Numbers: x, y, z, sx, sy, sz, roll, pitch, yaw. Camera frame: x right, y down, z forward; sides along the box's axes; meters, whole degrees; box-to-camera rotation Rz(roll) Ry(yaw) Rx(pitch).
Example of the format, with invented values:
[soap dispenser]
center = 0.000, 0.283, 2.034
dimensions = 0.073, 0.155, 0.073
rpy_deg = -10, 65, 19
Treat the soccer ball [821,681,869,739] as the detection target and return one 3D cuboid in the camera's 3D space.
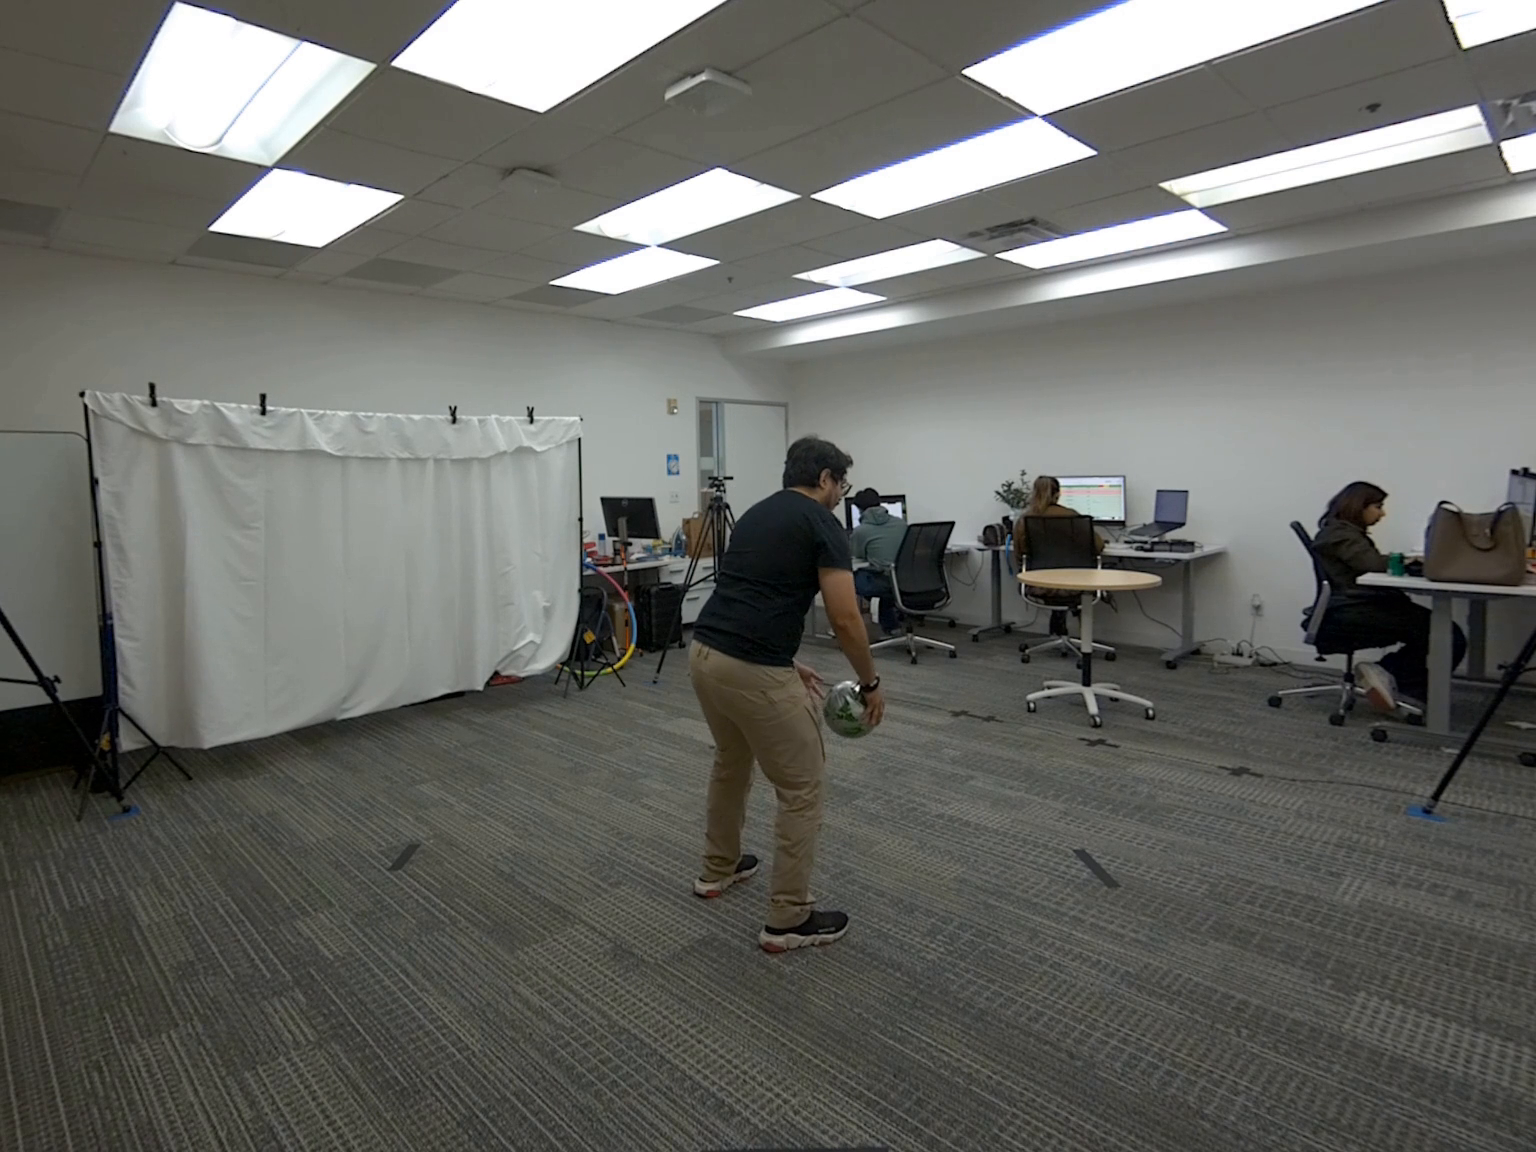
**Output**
[soccer ball]
center = 0.270, 0.430, 2.777
dimensions = 0.187, 0.187, 0.188
rpy_deg = -1, 5, -2
